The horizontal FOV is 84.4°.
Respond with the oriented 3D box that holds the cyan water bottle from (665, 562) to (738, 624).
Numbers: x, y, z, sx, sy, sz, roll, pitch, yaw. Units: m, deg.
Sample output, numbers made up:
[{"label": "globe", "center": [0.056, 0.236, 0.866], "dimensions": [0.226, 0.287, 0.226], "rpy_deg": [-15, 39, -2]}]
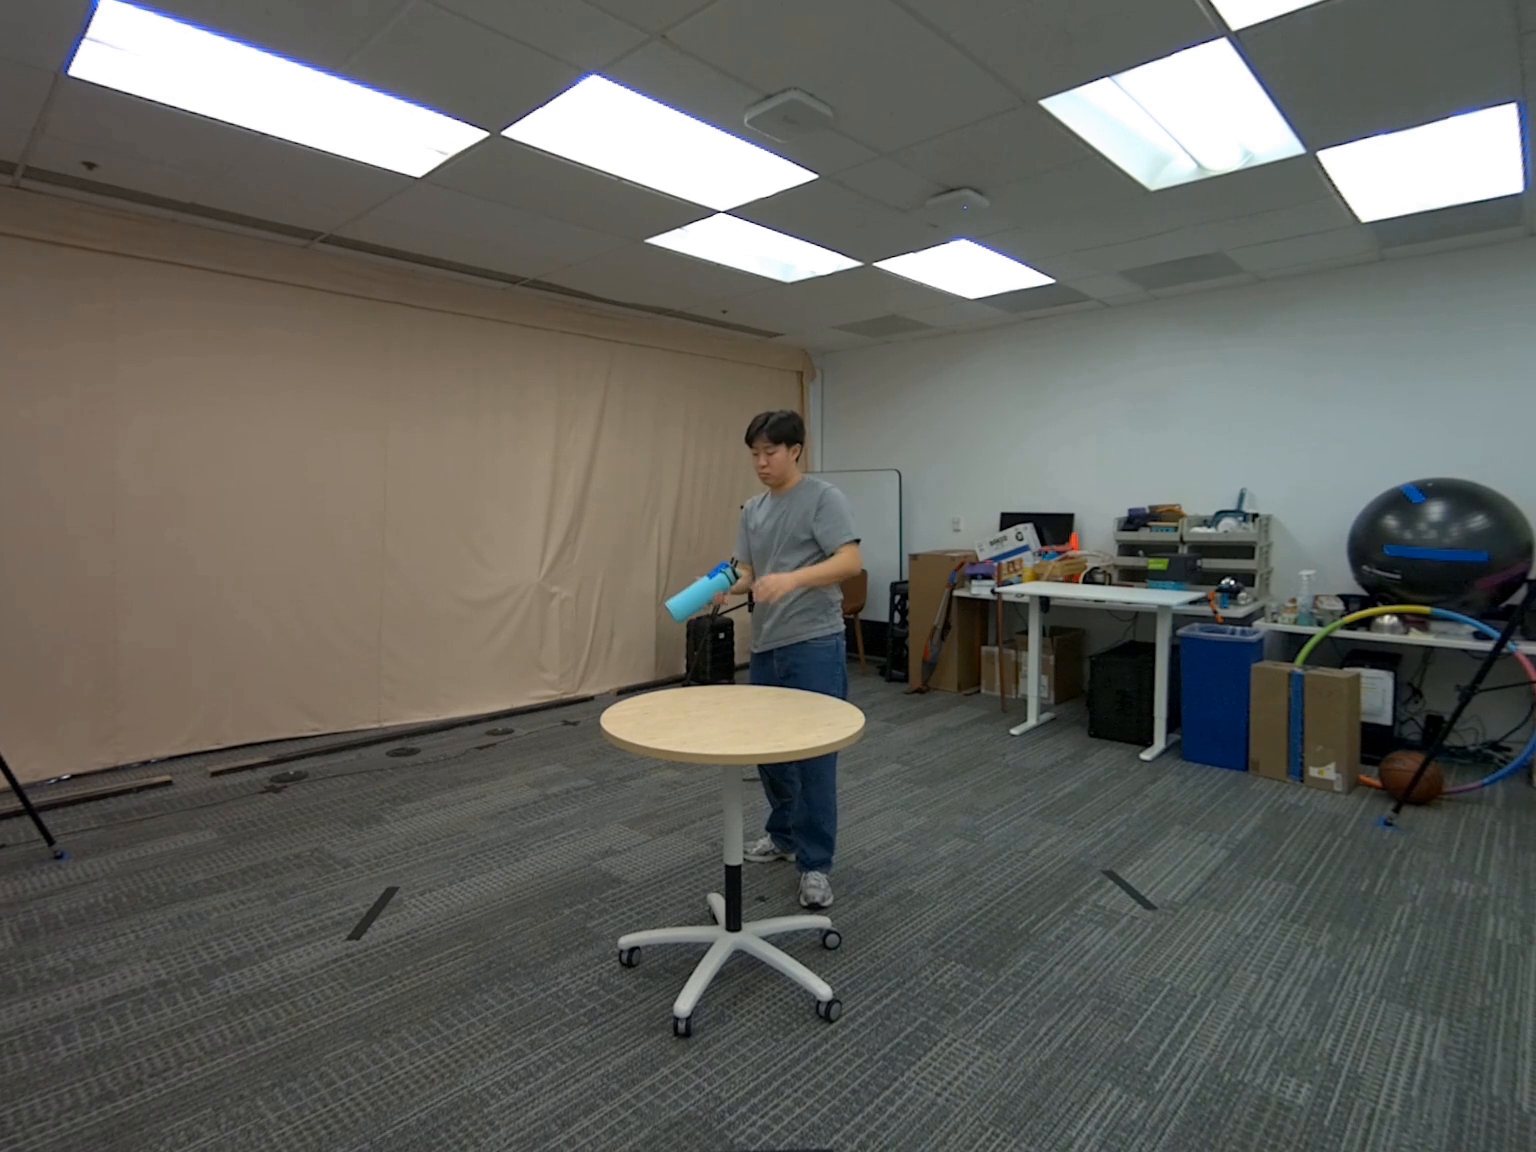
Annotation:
[{"label": "cyan water bottle", "center": [-0.216, 0.051, 2.940], "dimensions": [0.282, 0.091, 0.094], "rpy_deg": [-37, 10, -7]}]
